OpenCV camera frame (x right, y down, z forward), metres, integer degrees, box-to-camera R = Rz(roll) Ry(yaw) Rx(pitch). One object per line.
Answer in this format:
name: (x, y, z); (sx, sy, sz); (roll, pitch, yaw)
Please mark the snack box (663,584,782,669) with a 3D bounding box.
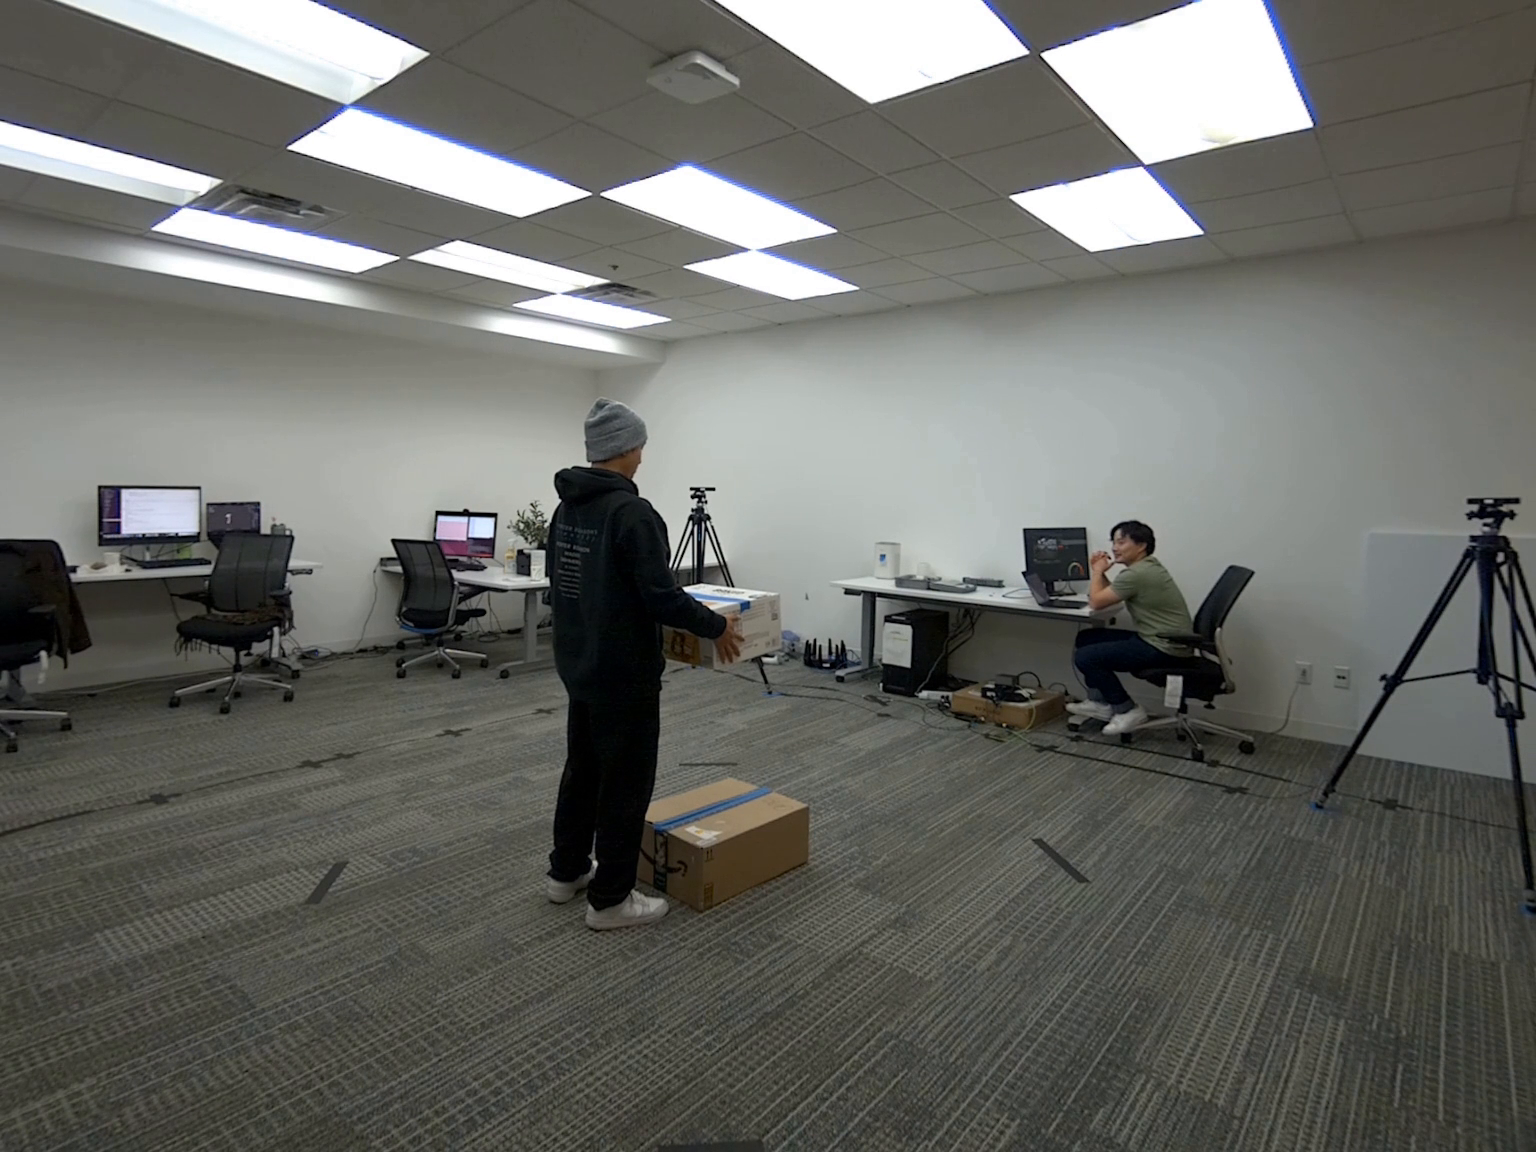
snack box: (-0.226, 0.168, 3.041); (0.419, 0.204, 0.331); (6, 13, 44)
